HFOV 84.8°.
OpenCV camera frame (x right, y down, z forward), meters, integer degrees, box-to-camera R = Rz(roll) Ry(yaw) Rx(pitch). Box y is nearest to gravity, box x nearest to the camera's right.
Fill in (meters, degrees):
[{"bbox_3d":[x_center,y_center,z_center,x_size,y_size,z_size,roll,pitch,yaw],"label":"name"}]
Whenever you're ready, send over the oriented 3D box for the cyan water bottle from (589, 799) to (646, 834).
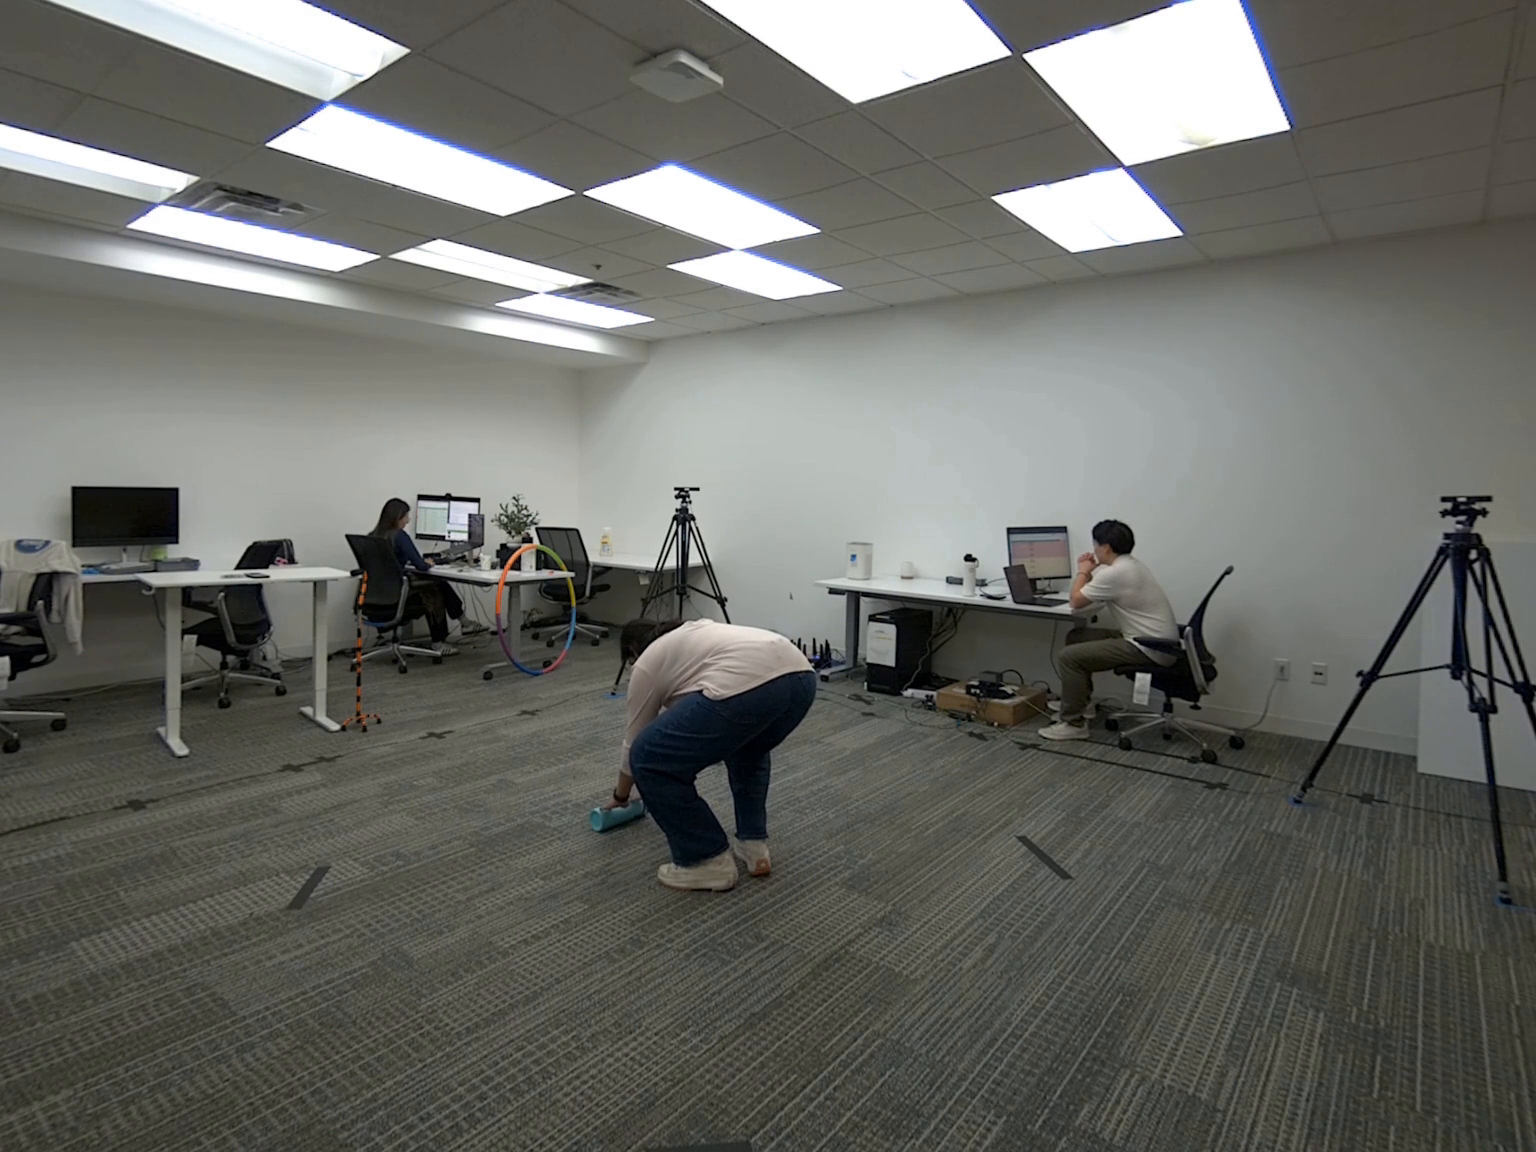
[{"bbox_3d":[-0.615,0.968,3.521,0.095,0.092,0.275,4,6,40],"label":"cyan water bottle"}]
